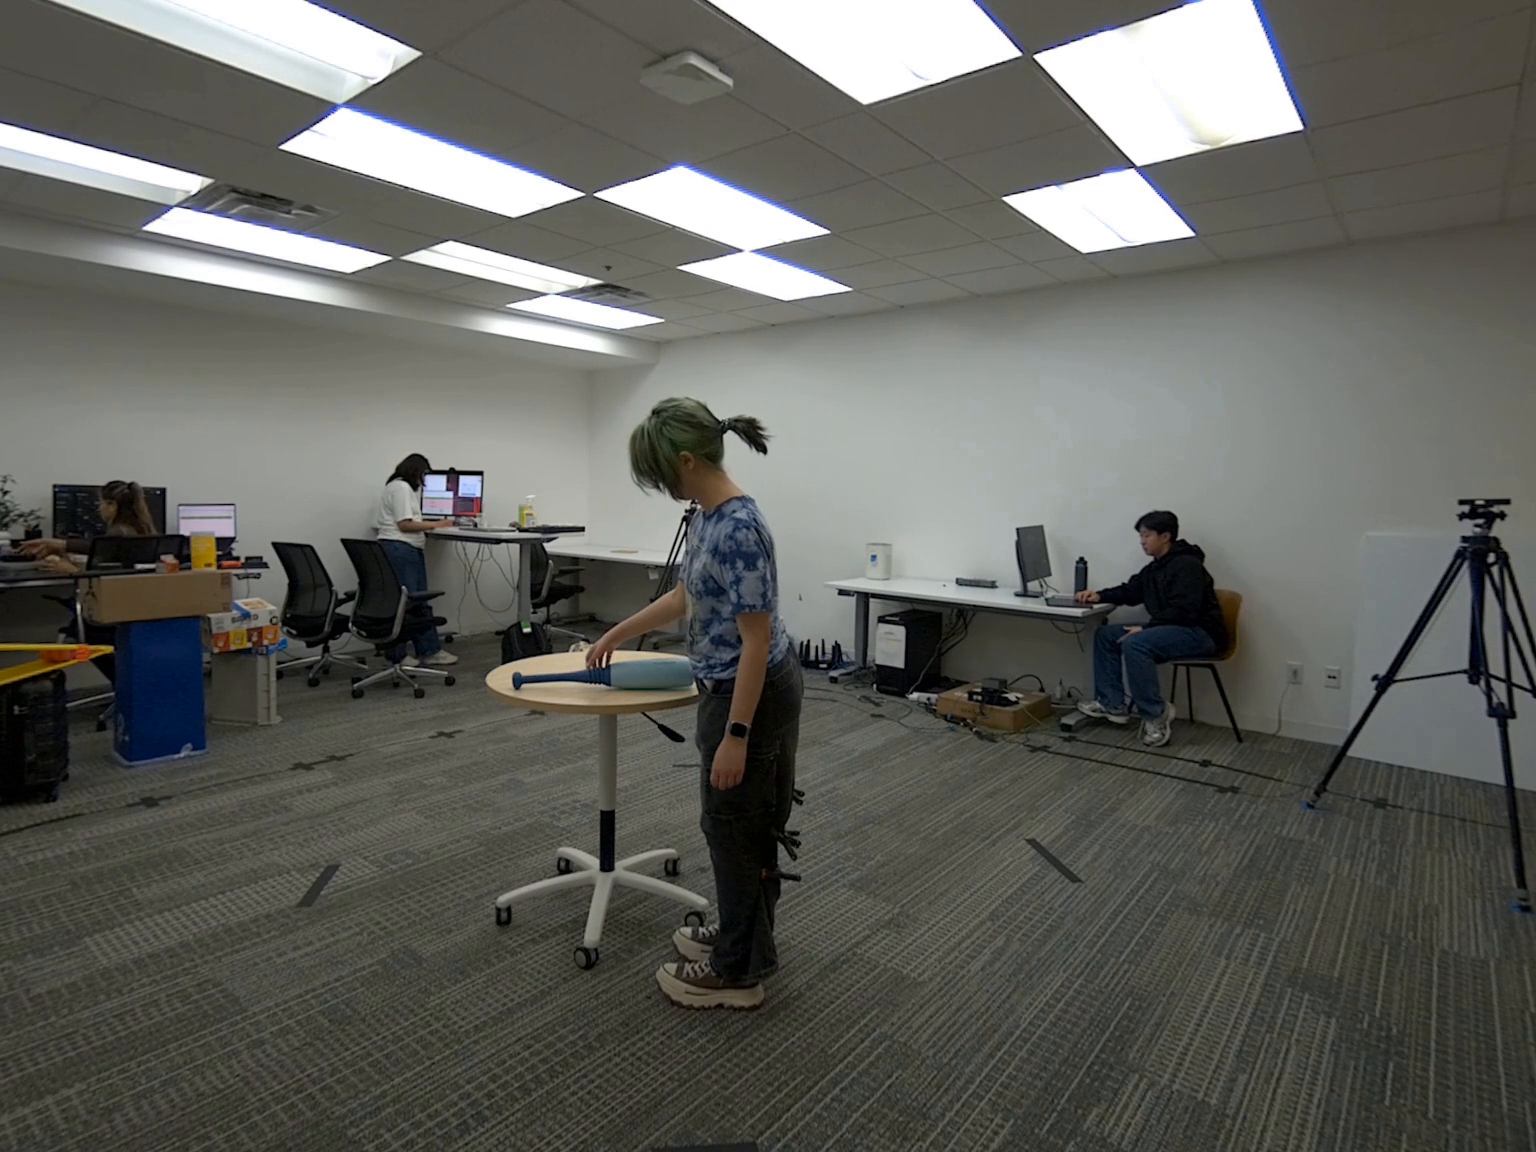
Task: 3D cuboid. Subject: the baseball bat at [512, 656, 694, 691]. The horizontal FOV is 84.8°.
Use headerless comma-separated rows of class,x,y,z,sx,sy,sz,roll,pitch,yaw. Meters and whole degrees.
baseball bat,-0.512,0.301,2.551,0.539,0.089,0.090,-2,4,-7
